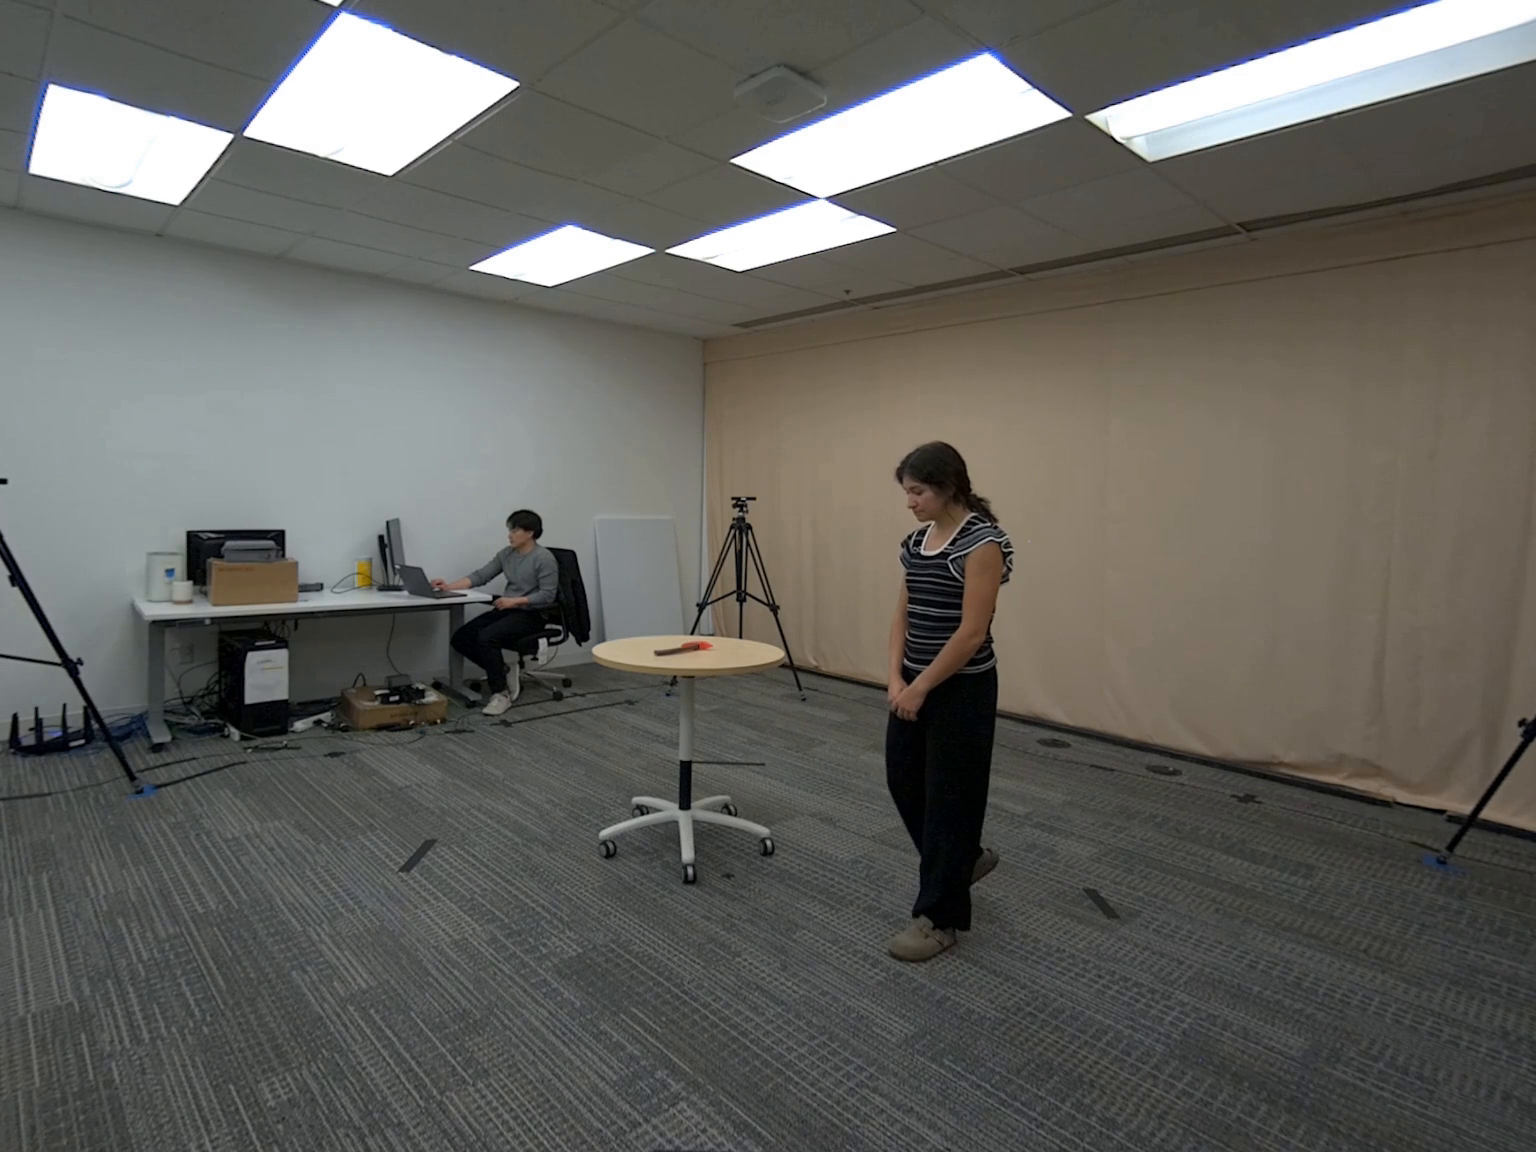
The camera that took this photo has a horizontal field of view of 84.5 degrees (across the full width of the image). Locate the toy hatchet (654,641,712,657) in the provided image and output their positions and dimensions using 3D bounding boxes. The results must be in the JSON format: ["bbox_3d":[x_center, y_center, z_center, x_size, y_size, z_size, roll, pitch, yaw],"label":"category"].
[{"bbox_3d":[-0.369,0.284,3.328,0.264,0.029,0.134,-4,5,-40],"label":"toy hatchet"}]
